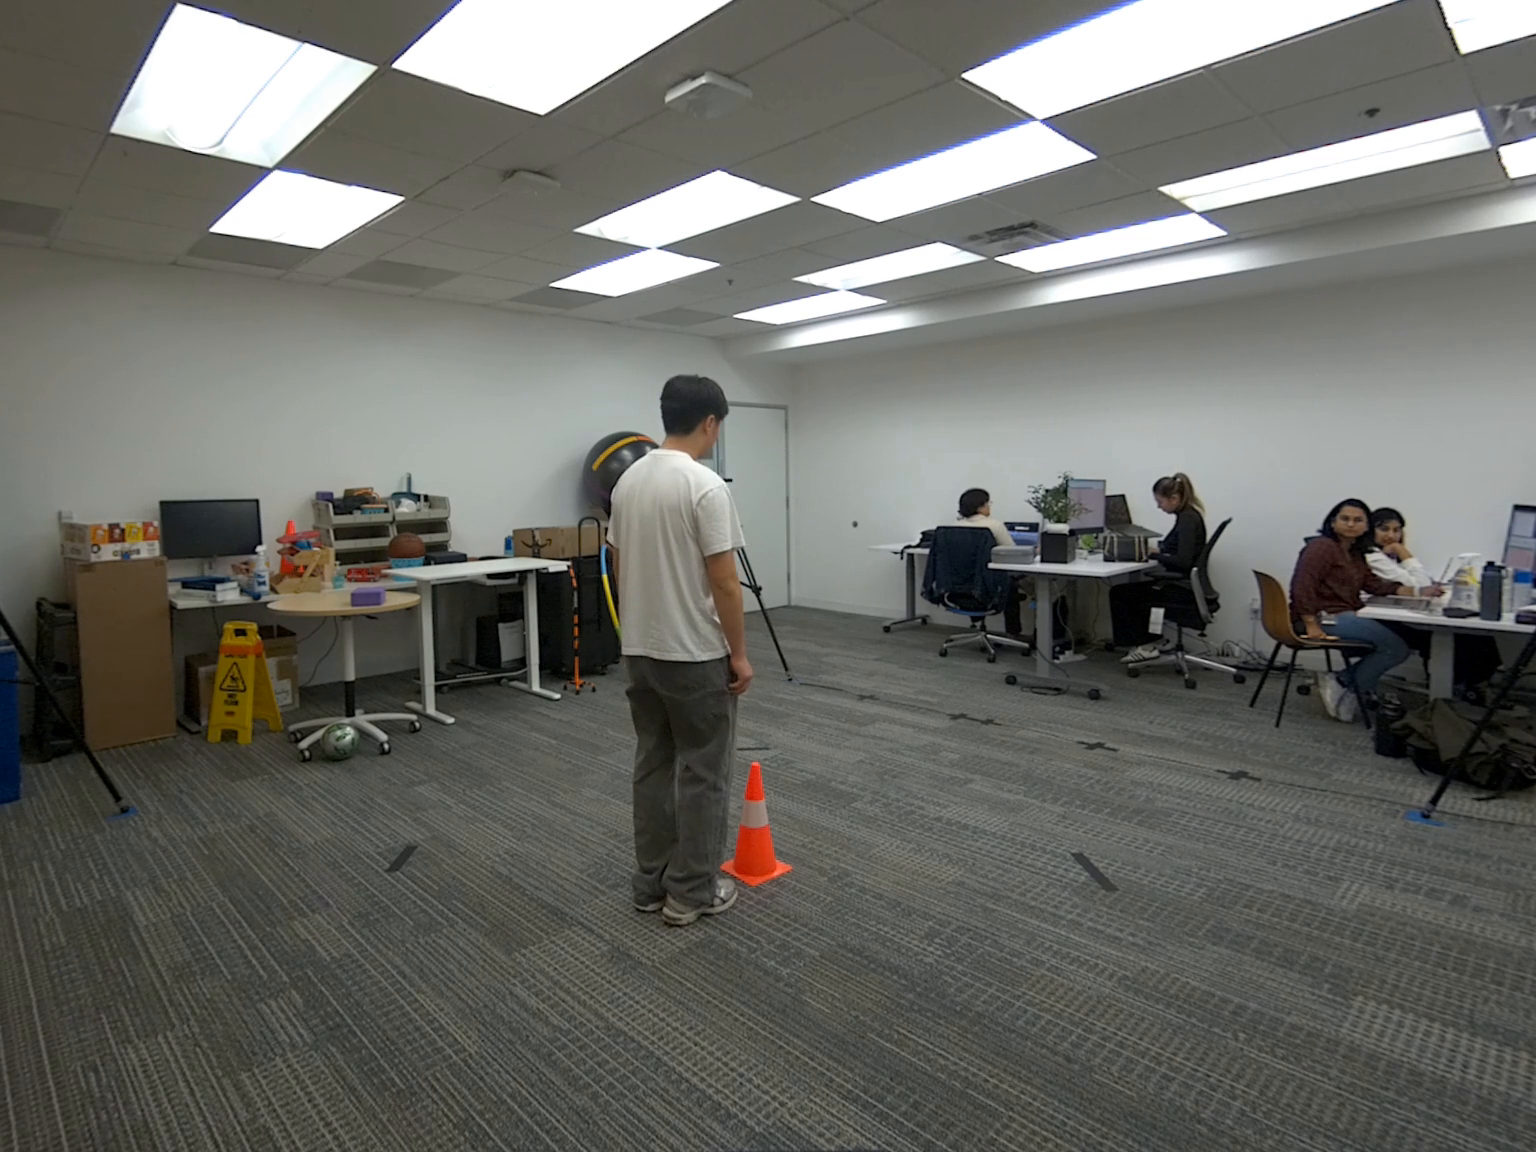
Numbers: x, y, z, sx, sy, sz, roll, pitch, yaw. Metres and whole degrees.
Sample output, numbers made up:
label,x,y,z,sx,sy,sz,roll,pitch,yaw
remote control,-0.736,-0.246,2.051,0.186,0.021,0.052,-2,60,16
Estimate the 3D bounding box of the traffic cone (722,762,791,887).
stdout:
label,x,y,z,sx,sy,sz,roll,pitch,yaw
traffic cone,-0.038,0.866,3.065,0.200,0.382,0.209,-2,5,-34
